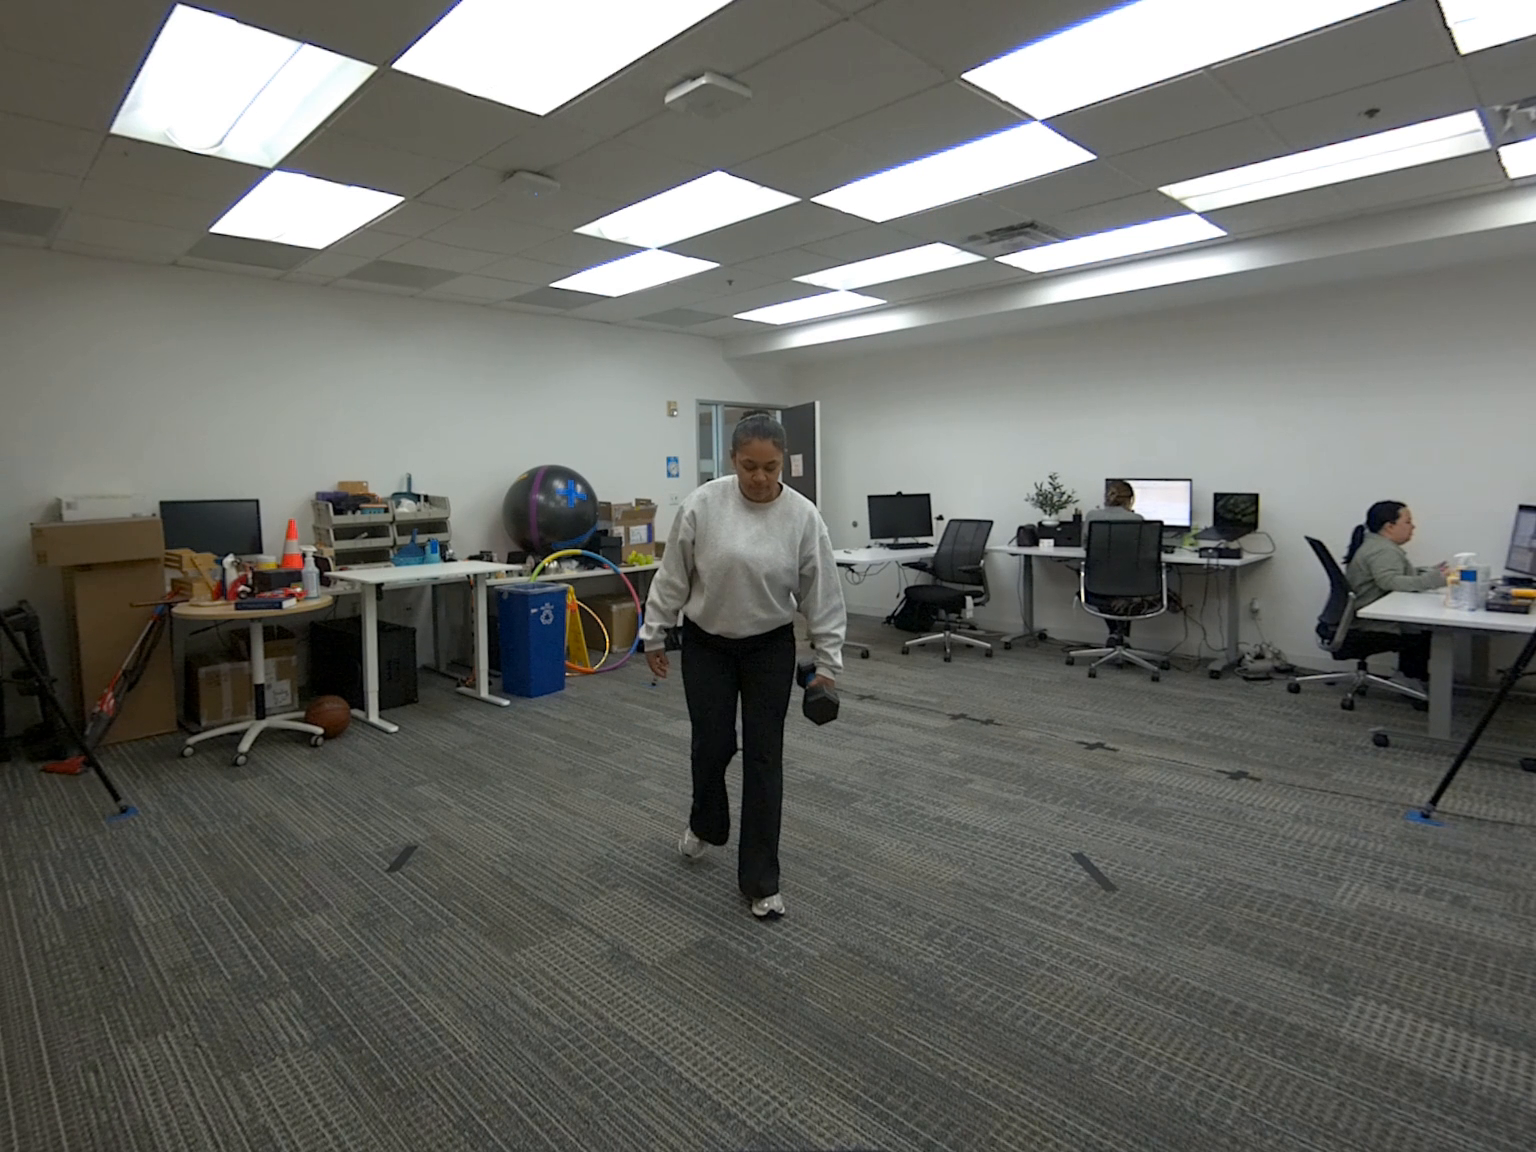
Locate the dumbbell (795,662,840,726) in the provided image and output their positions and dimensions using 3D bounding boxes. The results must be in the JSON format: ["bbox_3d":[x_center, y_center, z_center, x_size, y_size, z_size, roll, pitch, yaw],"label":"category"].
[{"bbox_3d":[0.148,0.373,2.804,0.108,0.121,0.299,7,18,-6],"label":"dumbbell"}]
